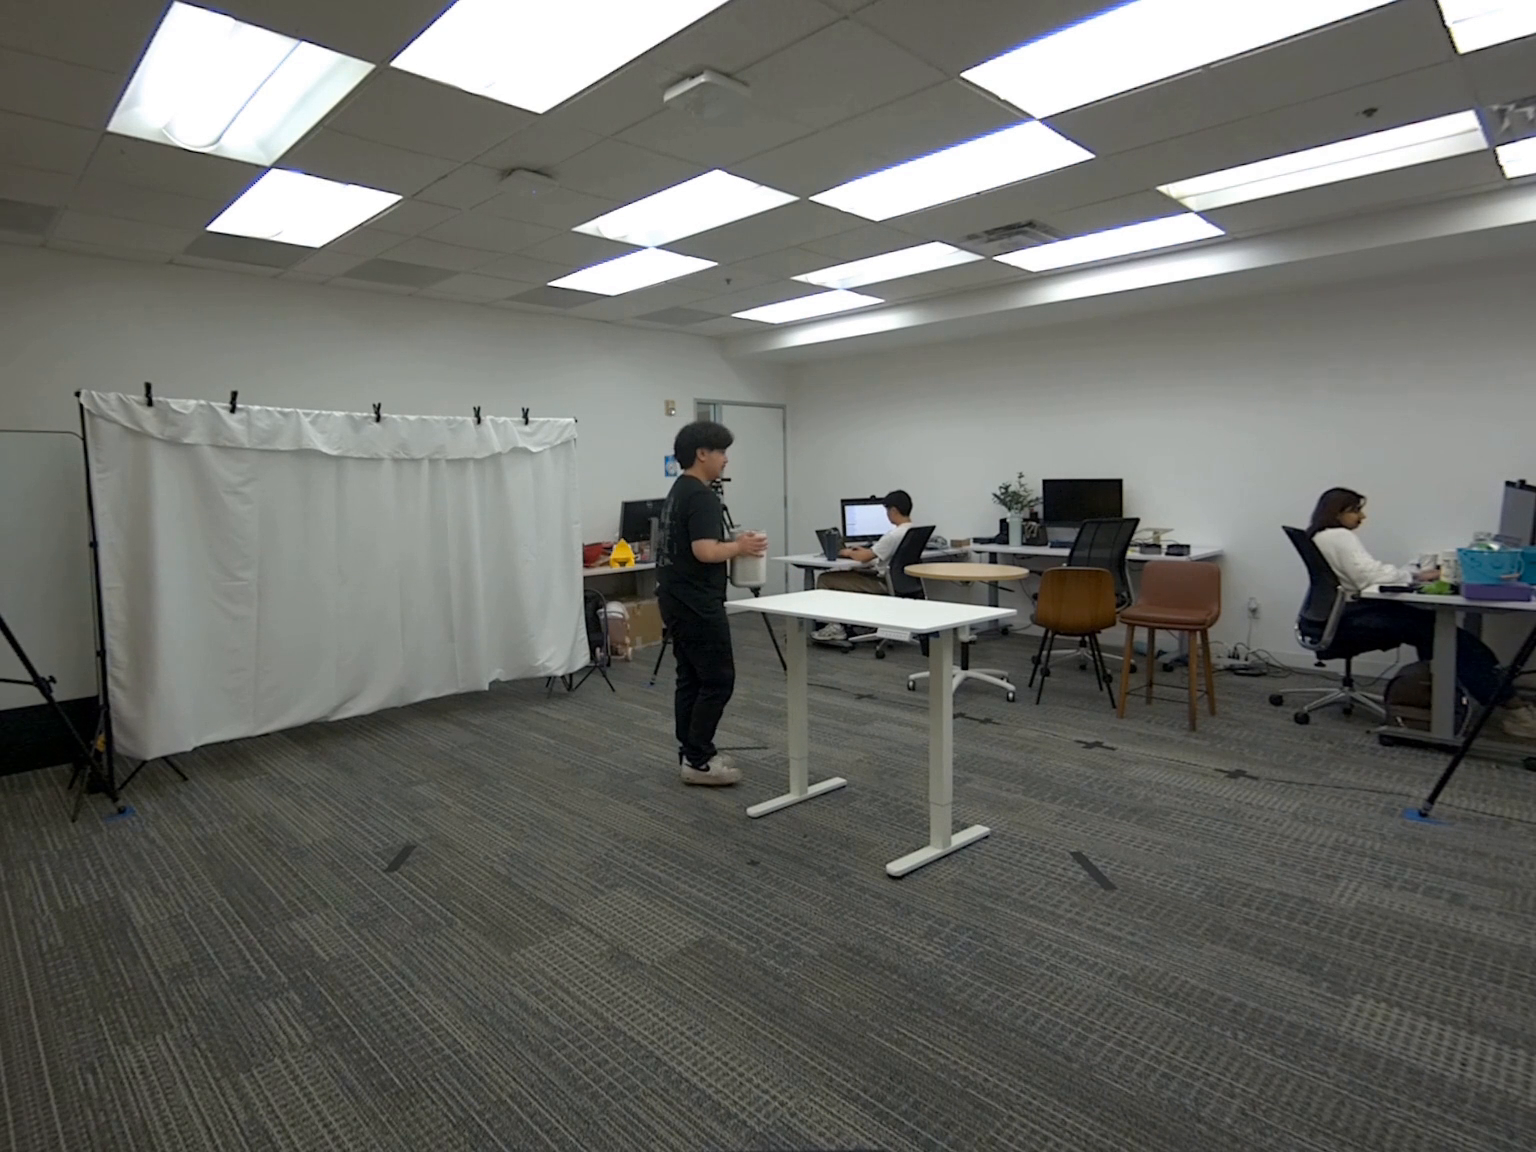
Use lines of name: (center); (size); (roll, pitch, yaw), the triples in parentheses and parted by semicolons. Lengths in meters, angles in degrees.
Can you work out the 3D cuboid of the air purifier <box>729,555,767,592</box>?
air purifier: (-0.104, -0.079, 4.041); (0.171, 0.264, 0.172); (1, 5, -4)
